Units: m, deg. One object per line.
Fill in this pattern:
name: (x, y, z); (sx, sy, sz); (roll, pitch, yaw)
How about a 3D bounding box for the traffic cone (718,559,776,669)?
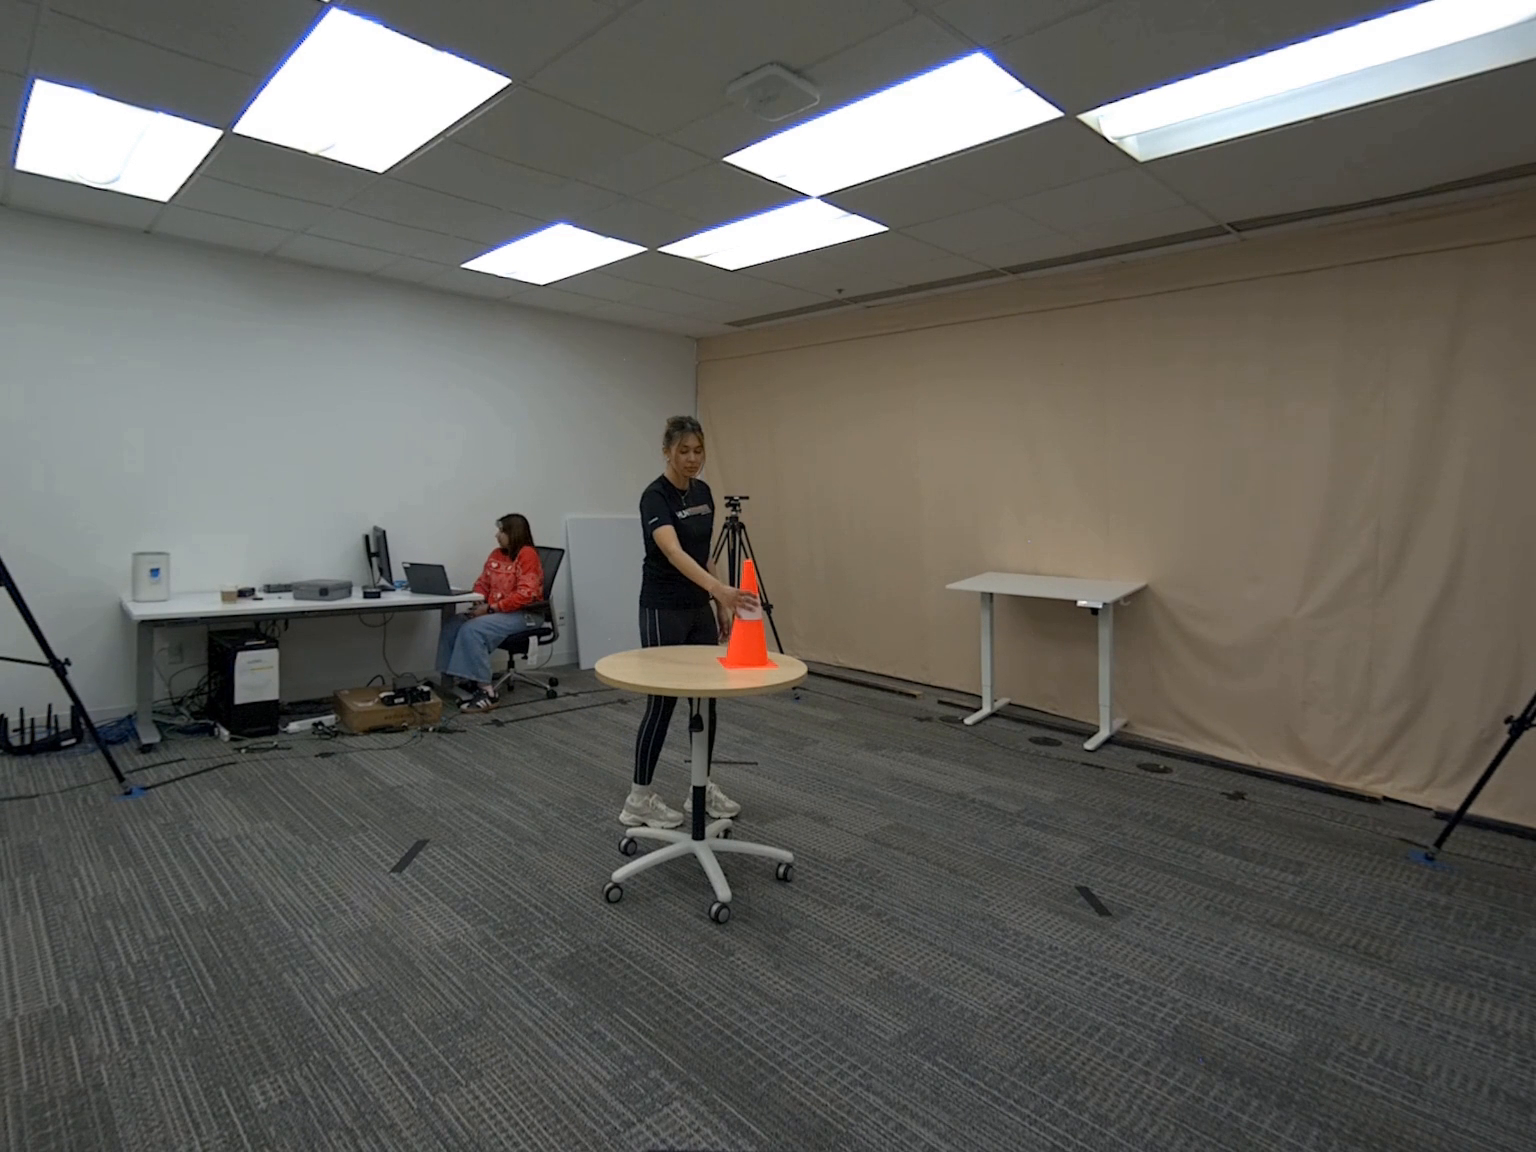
traffic cone: (-0.080, 0.127, 3.096); (0.201, 0.383, 0.207); (2, 1, -15)
